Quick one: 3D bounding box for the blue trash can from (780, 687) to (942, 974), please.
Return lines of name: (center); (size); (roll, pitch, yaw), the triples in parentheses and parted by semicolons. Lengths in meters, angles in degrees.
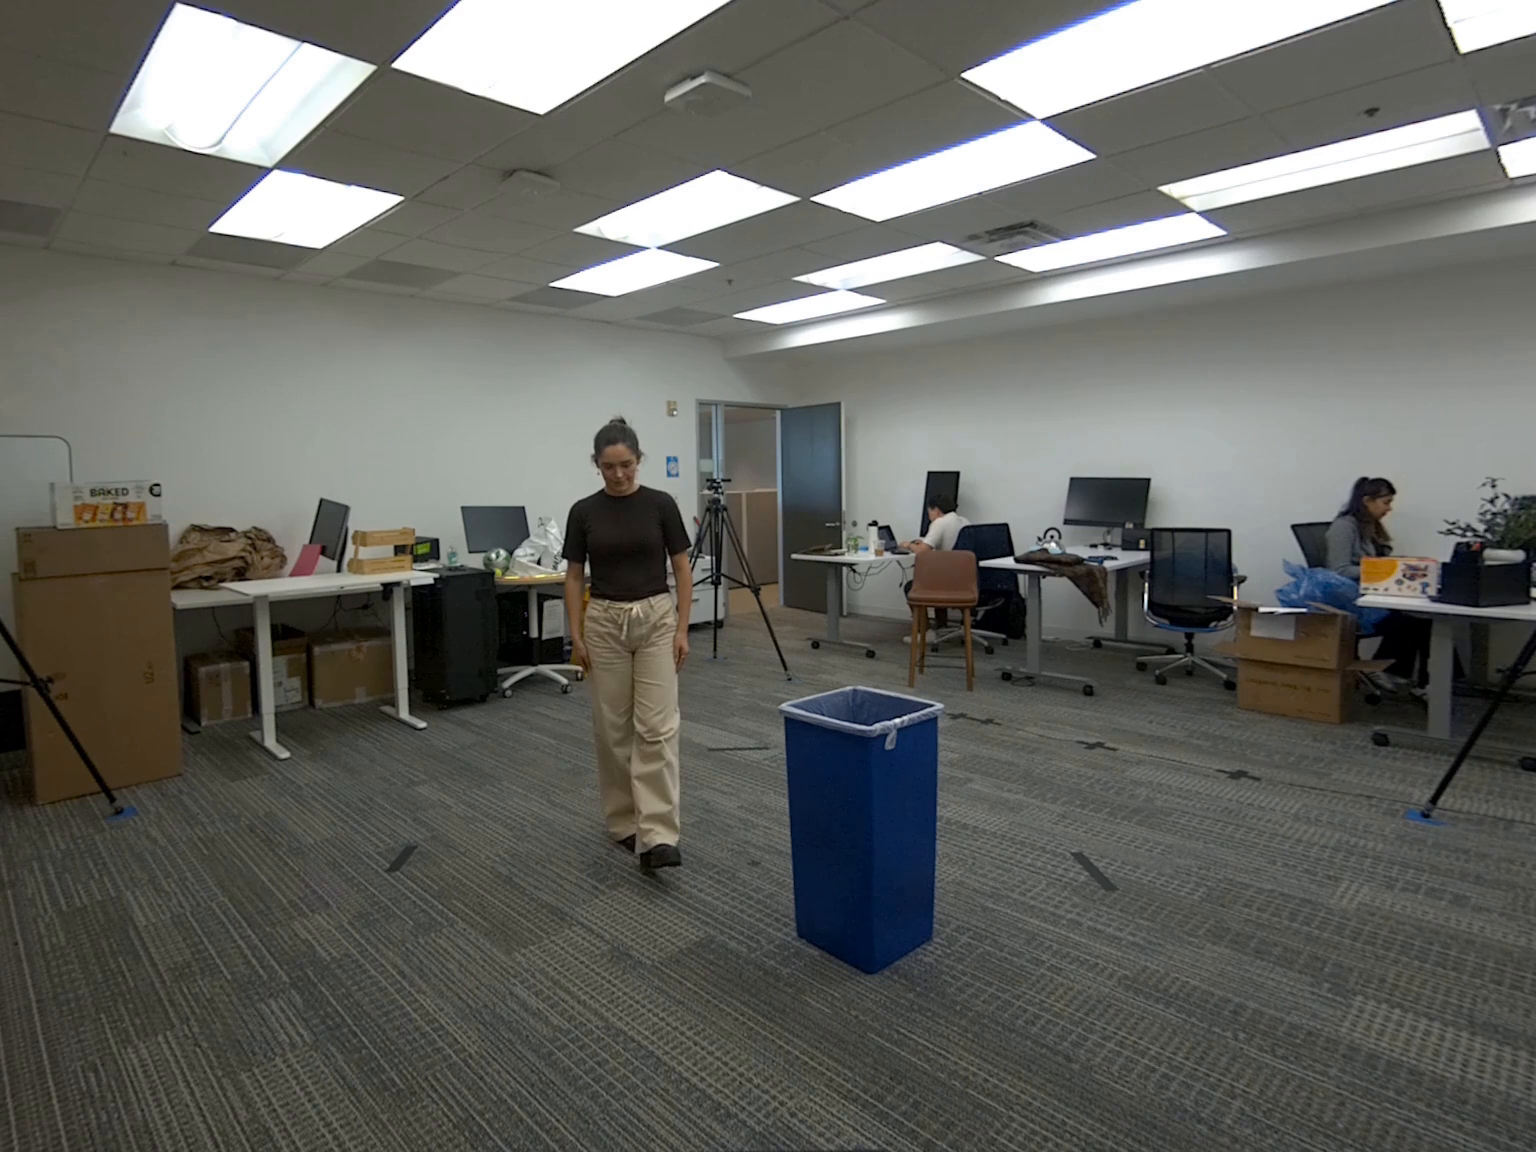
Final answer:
blue trash can: (0.292, 0.740, 2.584); (0.364, 0.711, 0.389); (-5, 5, -42)
